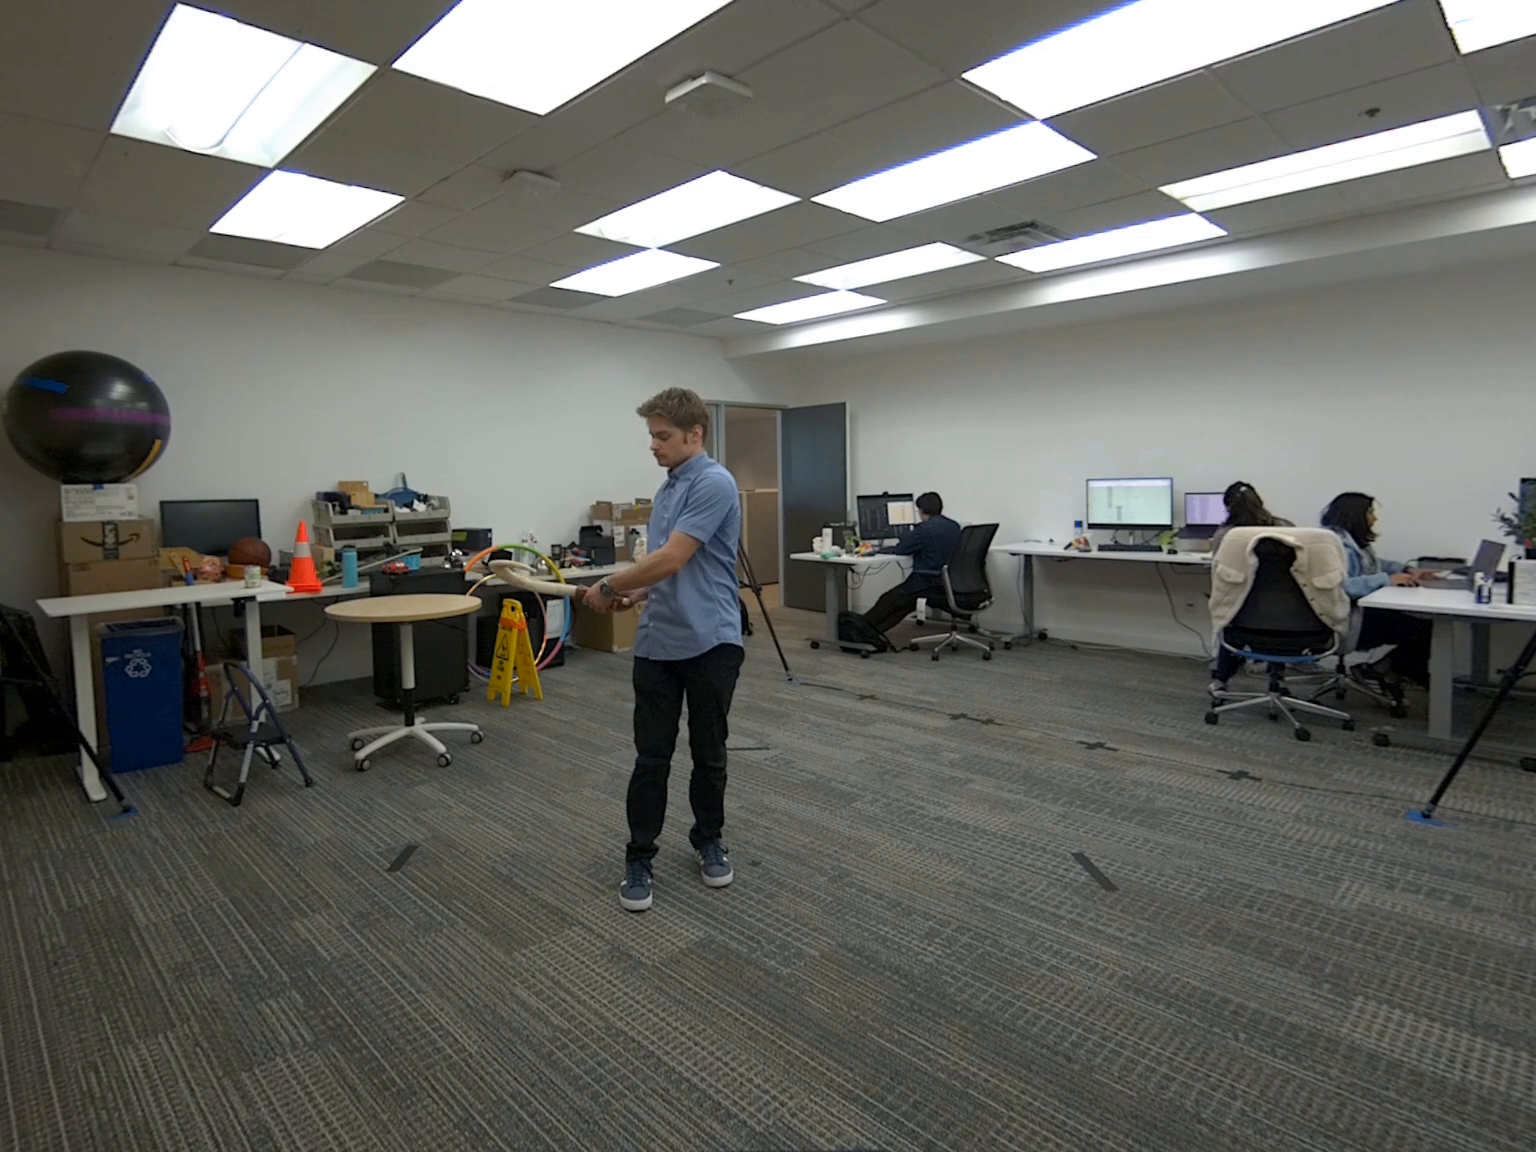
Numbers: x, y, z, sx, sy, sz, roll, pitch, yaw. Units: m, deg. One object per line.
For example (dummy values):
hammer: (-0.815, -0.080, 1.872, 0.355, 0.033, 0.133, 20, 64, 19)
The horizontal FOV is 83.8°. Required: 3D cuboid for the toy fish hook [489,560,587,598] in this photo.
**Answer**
toy fish hook: (-0.697, 0.033, 2.895, 0.513, 0.049, 0.219, 13, -19, 11)
